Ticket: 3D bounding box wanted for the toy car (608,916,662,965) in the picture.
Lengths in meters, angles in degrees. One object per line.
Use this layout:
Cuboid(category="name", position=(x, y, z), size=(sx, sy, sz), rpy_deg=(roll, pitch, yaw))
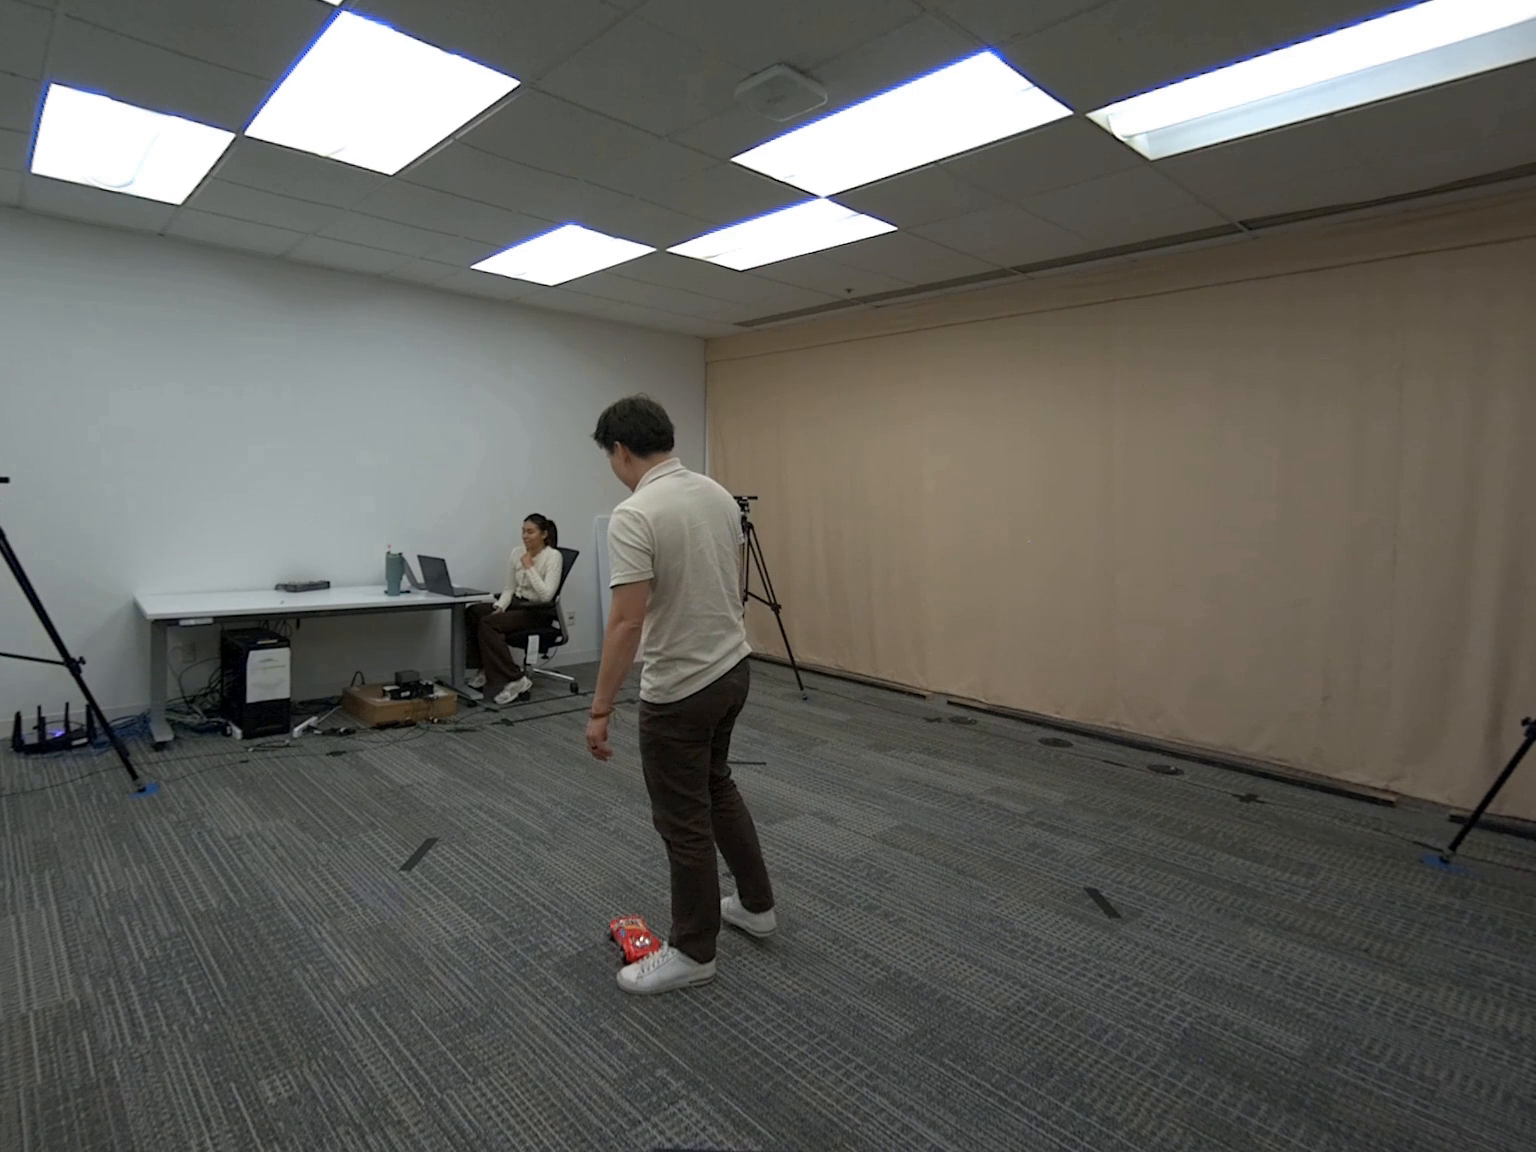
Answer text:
Cuboid(category="toy car", position=(-0.406, 1.116, 2.561), size=(0.128, 0.083, 0.258), rpy_deg=(-2, -4, -25))
